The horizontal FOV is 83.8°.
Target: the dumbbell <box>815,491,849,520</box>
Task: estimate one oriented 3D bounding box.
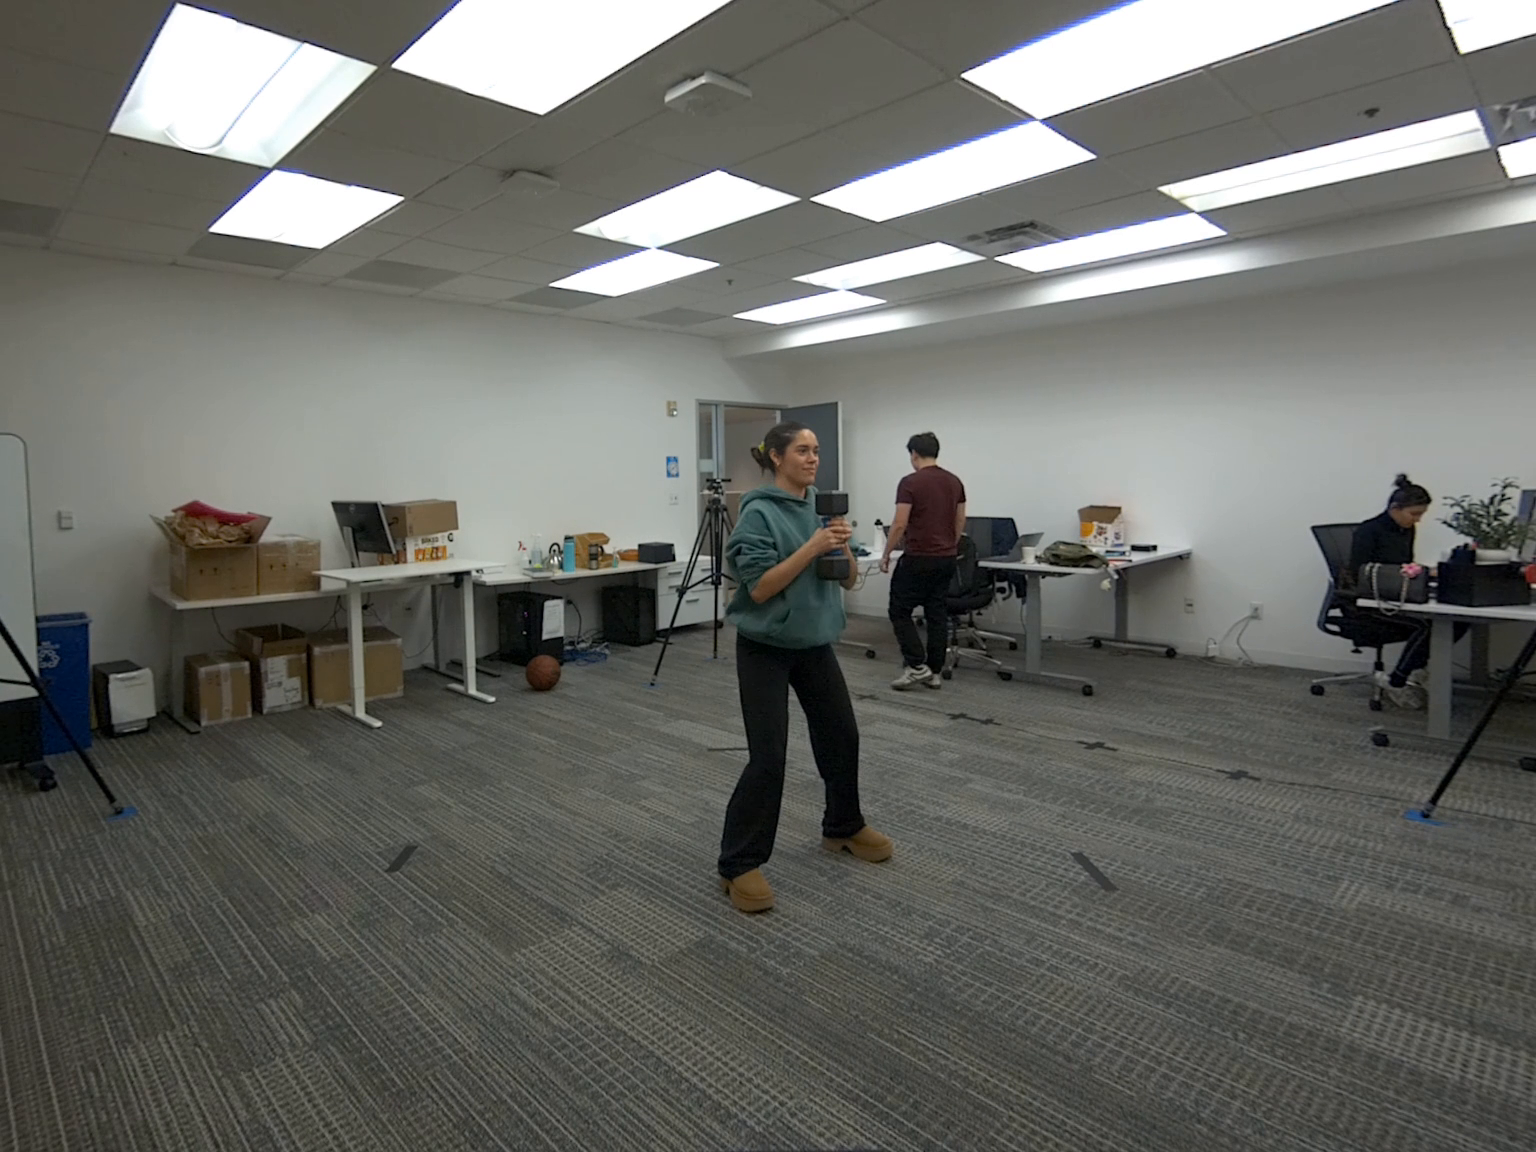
[{"bbox_3d":[0.195,-0.124,2.813,0.109,0.292,0.123,-2,4,3],"label":"dumbbell"}]
